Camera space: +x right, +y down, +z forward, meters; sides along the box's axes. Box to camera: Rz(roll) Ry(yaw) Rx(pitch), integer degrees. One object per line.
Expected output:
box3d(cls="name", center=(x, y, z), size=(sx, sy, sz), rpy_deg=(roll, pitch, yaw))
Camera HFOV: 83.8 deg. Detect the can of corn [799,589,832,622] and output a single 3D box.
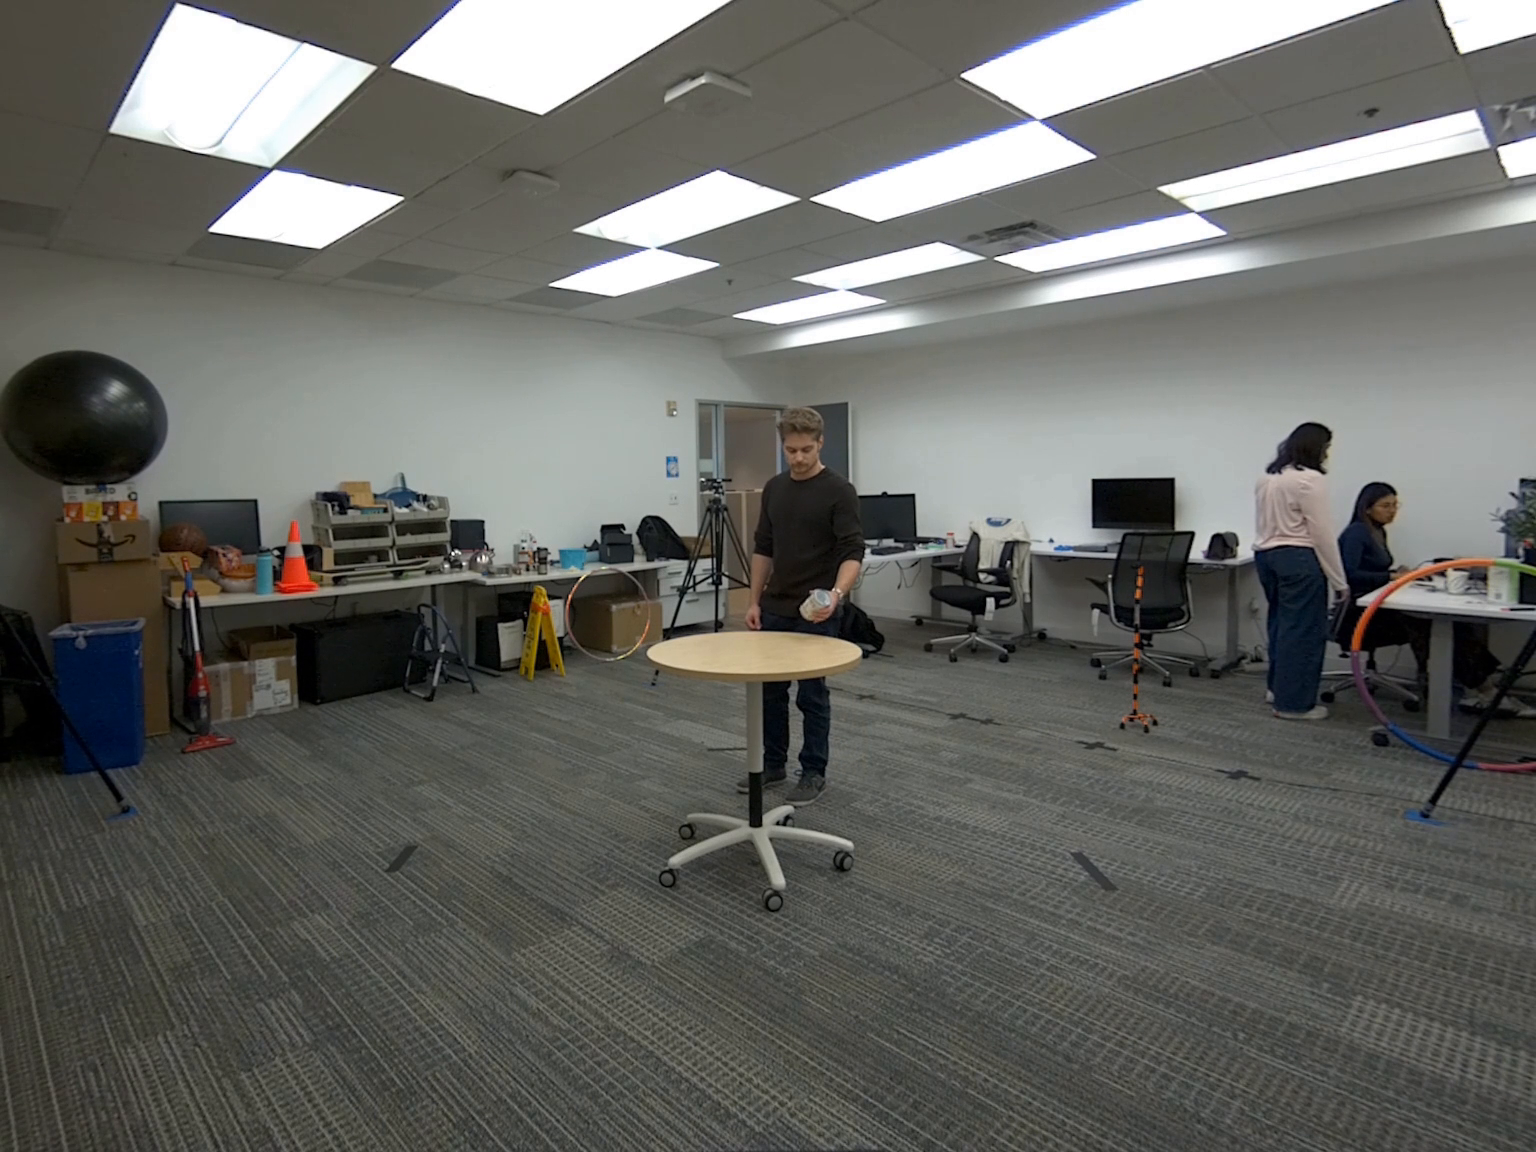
box3d(cls="can of corn", center=(0.177, 0.112, 3.266), size=(0.072, 0.076, 0.110), rpy_deg=(-4, -35, -36))
